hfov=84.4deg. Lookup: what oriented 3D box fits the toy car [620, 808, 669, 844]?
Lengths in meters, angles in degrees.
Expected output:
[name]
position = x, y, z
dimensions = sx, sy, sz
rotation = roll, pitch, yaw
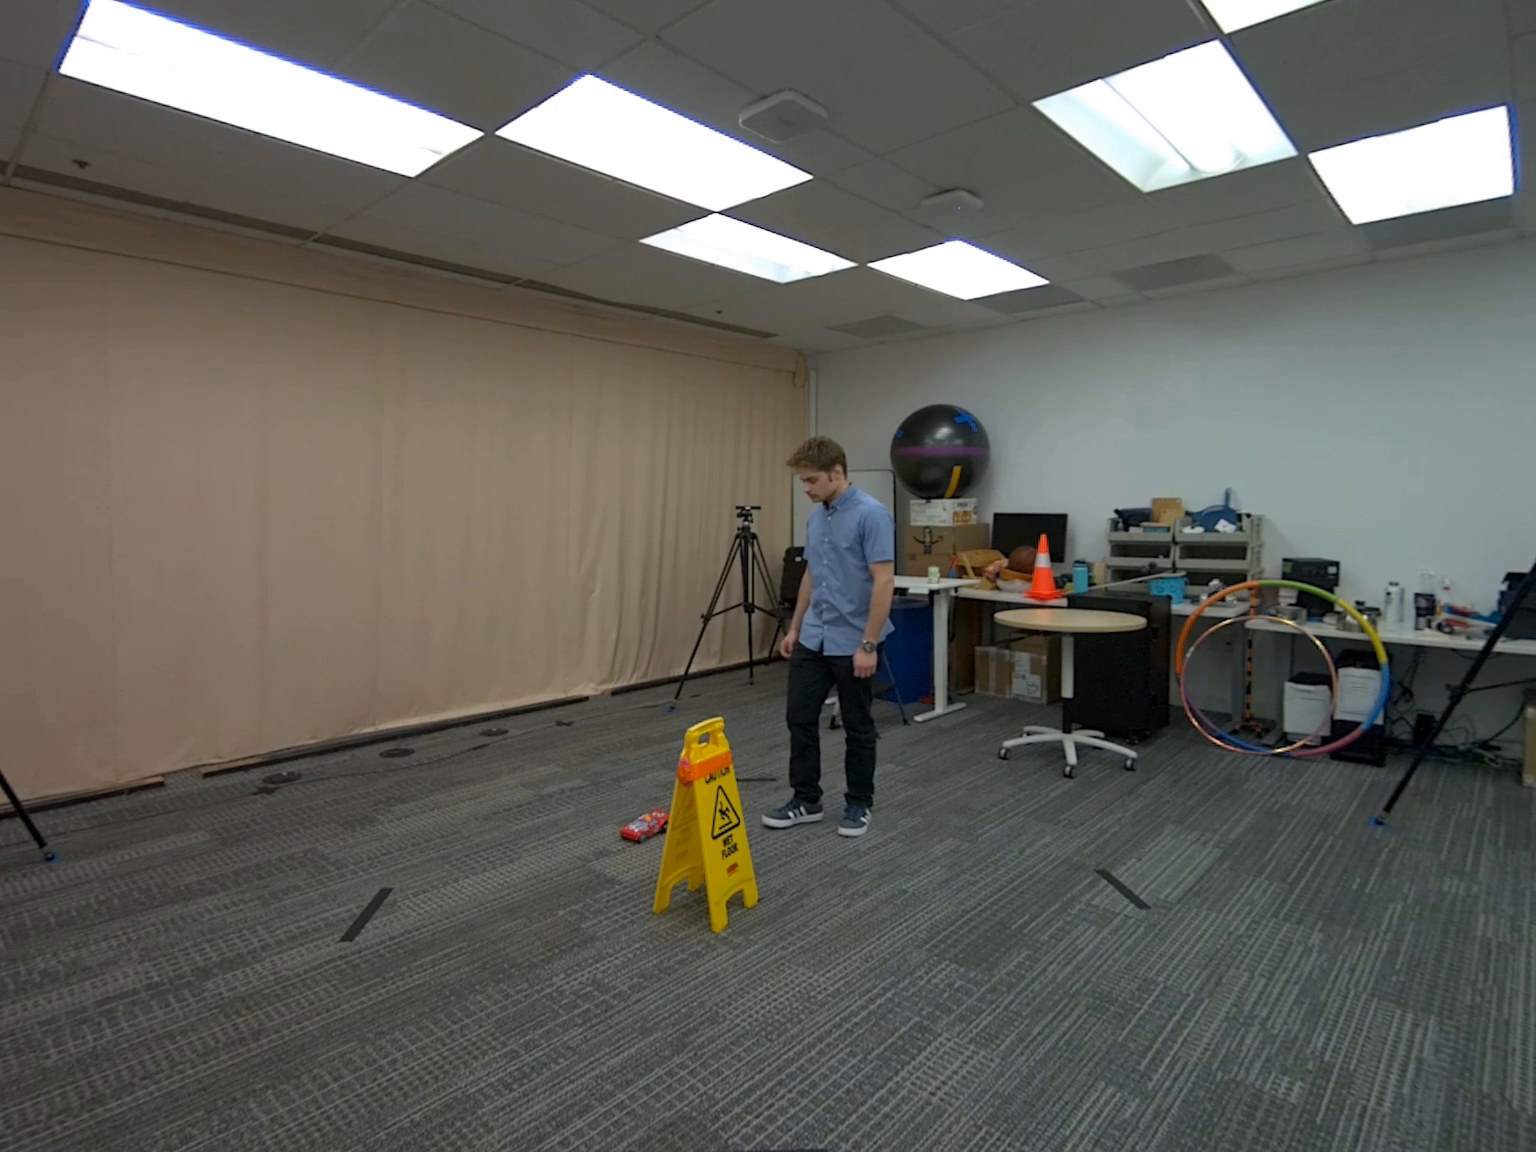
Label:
[toy car]
position = -0.514, 1.067, 3.591
dimensions = 0.134, 0.082, 0.249
rotation = 2, 16, 35
